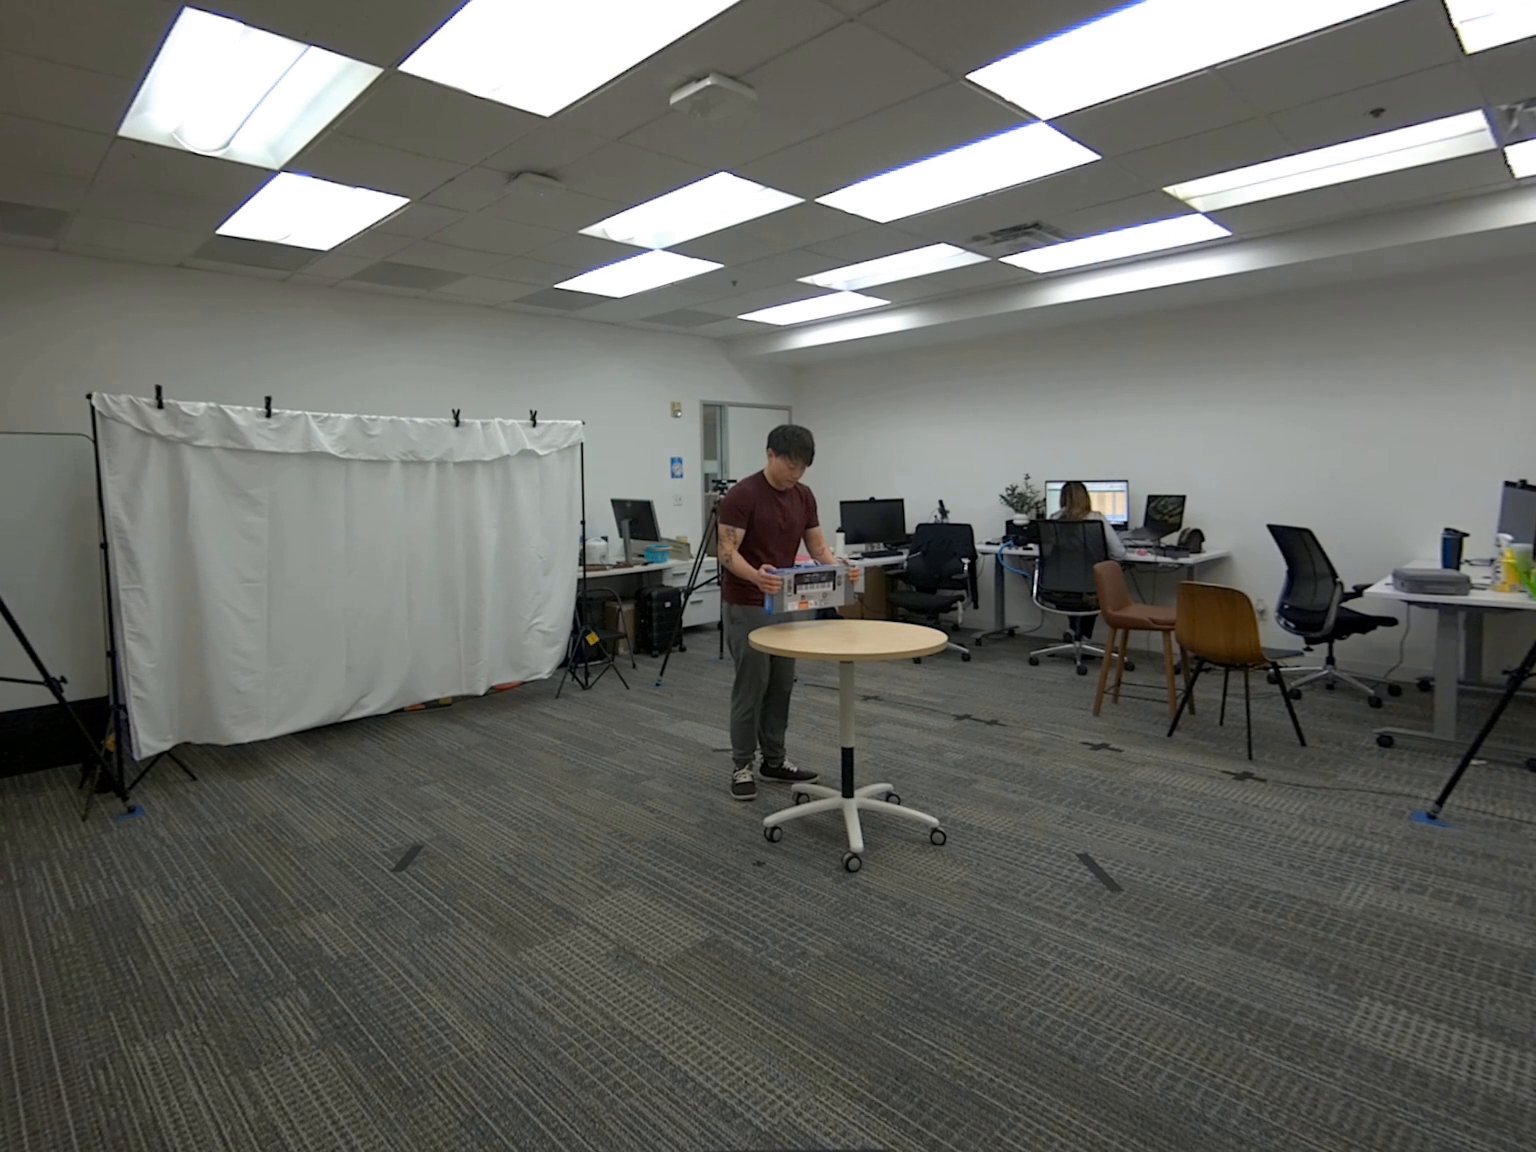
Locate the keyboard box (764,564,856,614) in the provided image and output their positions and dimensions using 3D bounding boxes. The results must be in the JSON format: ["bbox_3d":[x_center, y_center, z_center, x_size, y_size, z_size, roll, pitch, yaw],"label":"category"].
[{"bbox_3d":[0.179,0.053,3.550,0.426,0.175,0.061,-4,7,-35],"label":"keyboard box"}]
